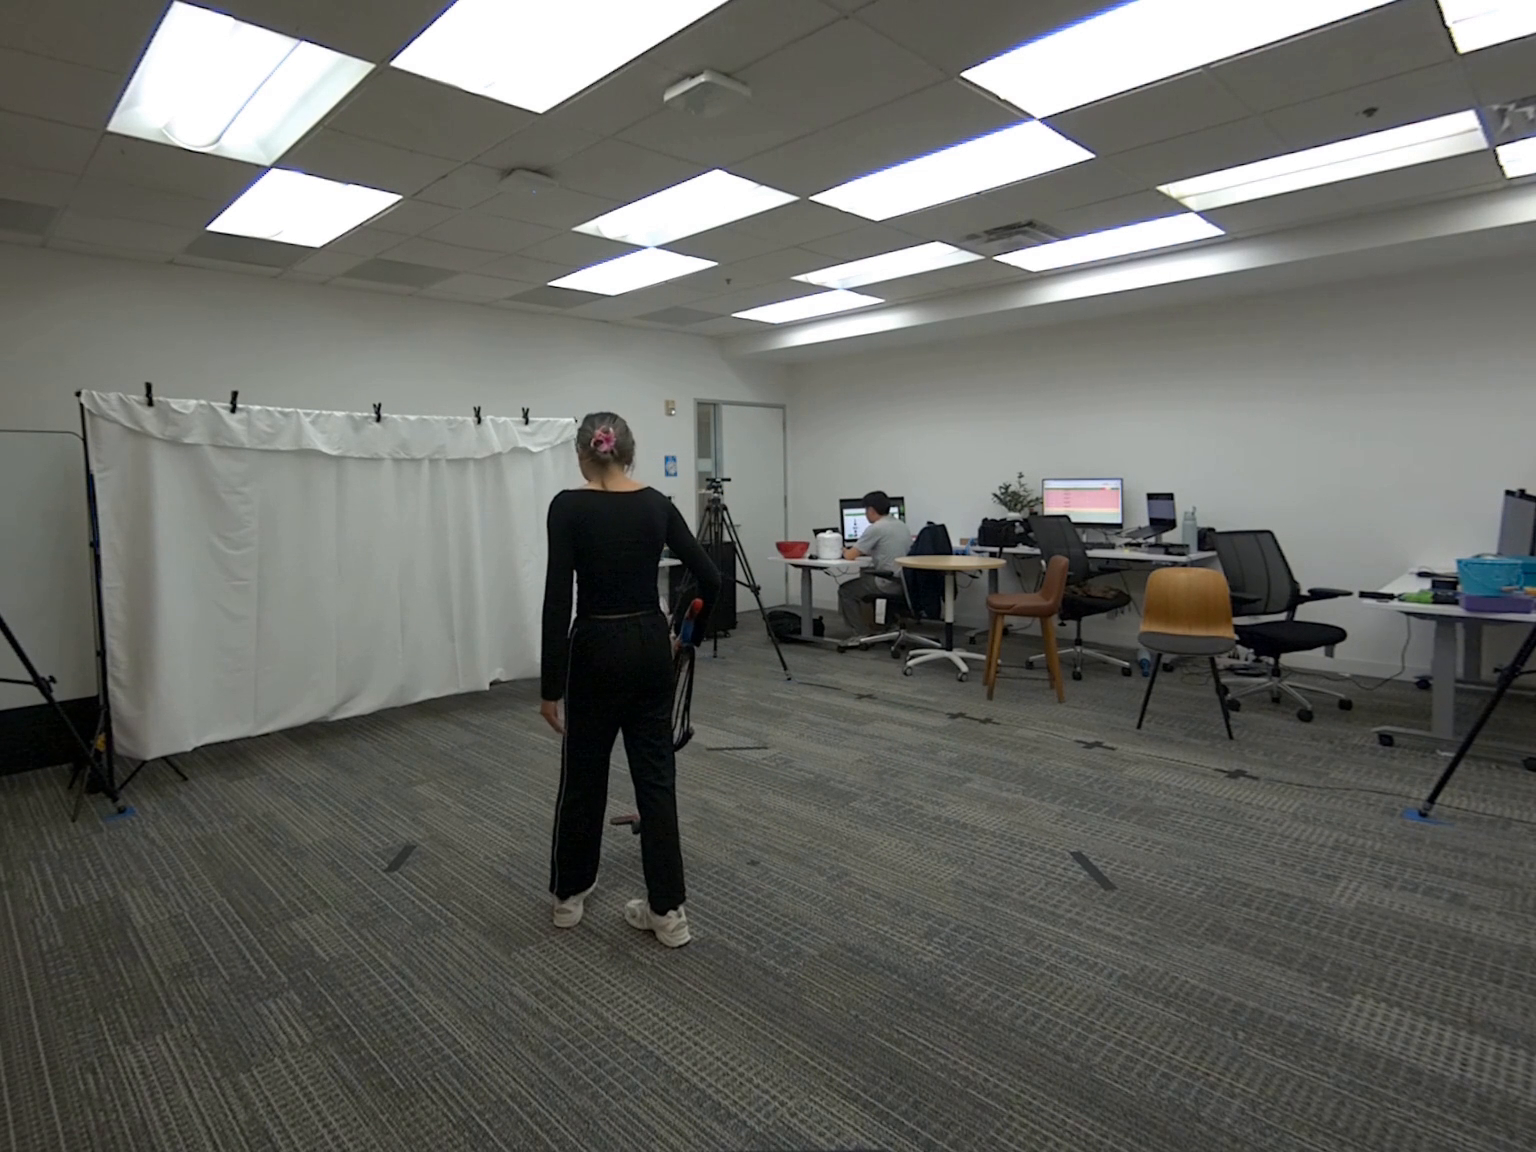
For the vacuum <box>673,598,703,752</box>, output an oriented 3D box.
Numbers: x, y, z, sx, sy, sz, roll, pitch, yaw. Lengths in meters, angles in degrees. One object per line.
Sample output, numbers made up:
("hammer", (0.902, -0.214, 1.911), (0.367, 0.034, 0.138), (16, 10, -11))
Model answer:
("vacuum", (-0.325, 0.506, 2.882), (0.248, 1.031, 0.149), (2, 35, -20))
